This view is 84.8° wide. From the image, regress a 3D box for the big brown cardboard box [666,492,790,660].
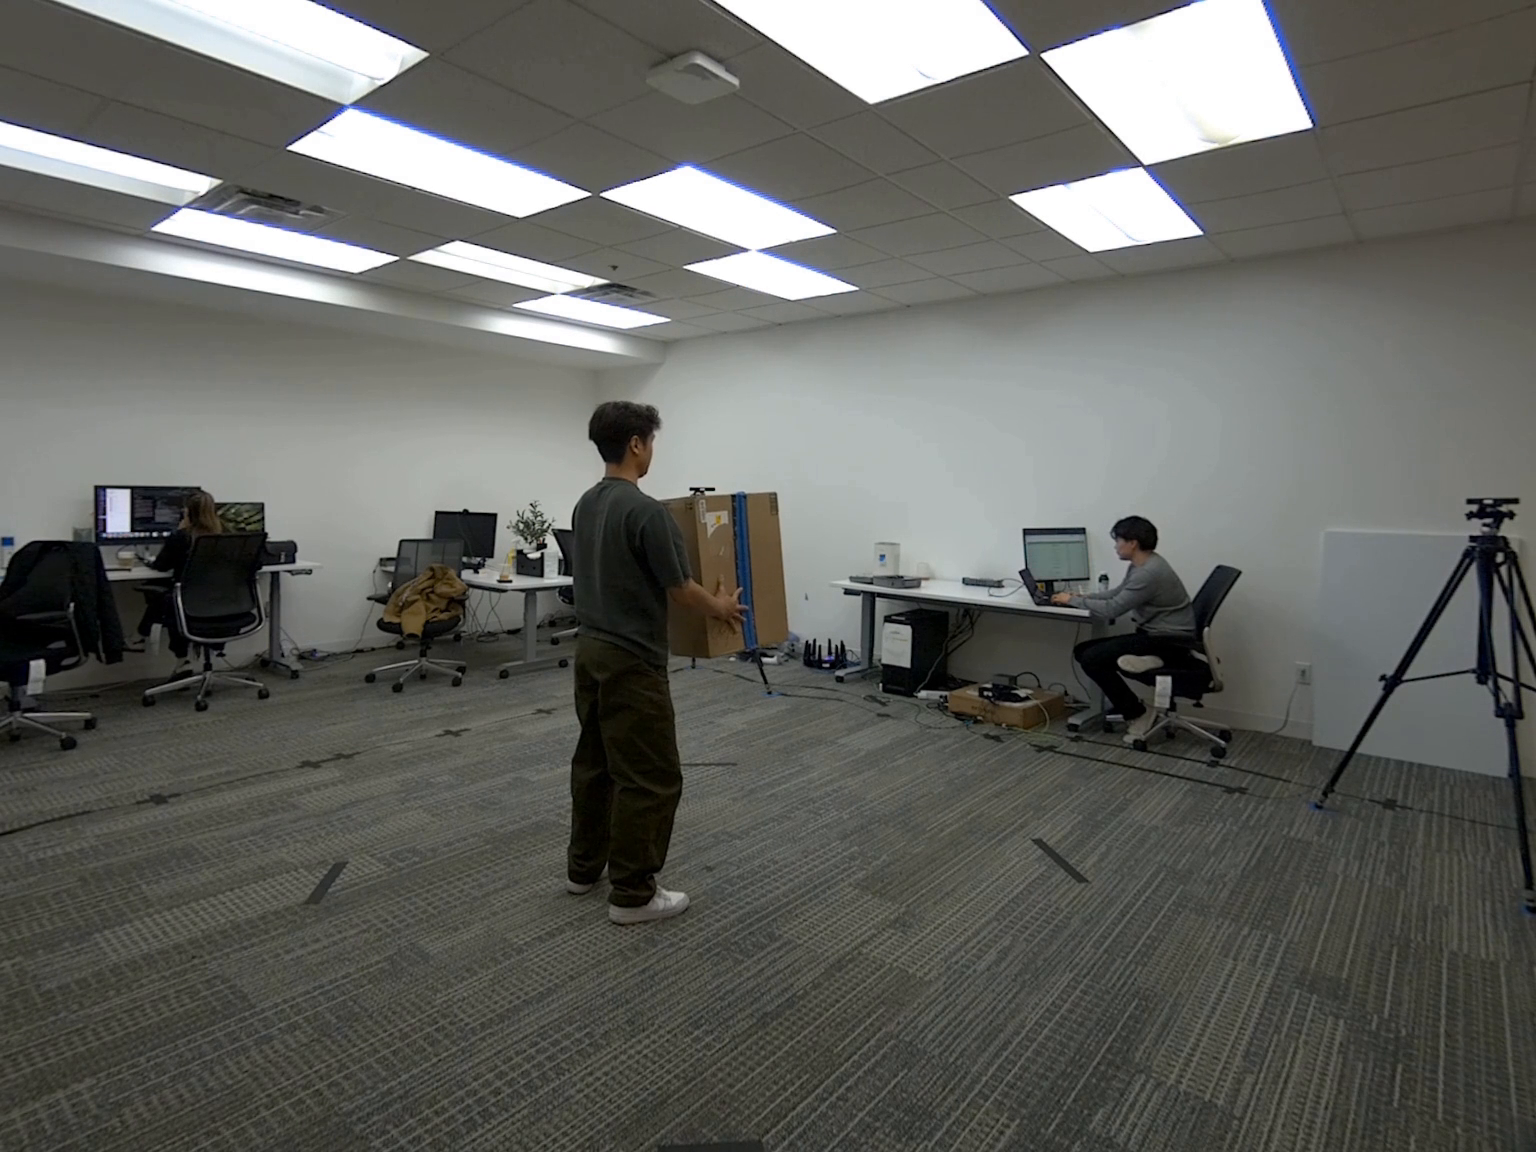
[{"bbox_3d":[-0.173,-0.023,3.141,0.406,0.588,0.240,-8,3,-44],"label":"big brown cardboard box"}]
